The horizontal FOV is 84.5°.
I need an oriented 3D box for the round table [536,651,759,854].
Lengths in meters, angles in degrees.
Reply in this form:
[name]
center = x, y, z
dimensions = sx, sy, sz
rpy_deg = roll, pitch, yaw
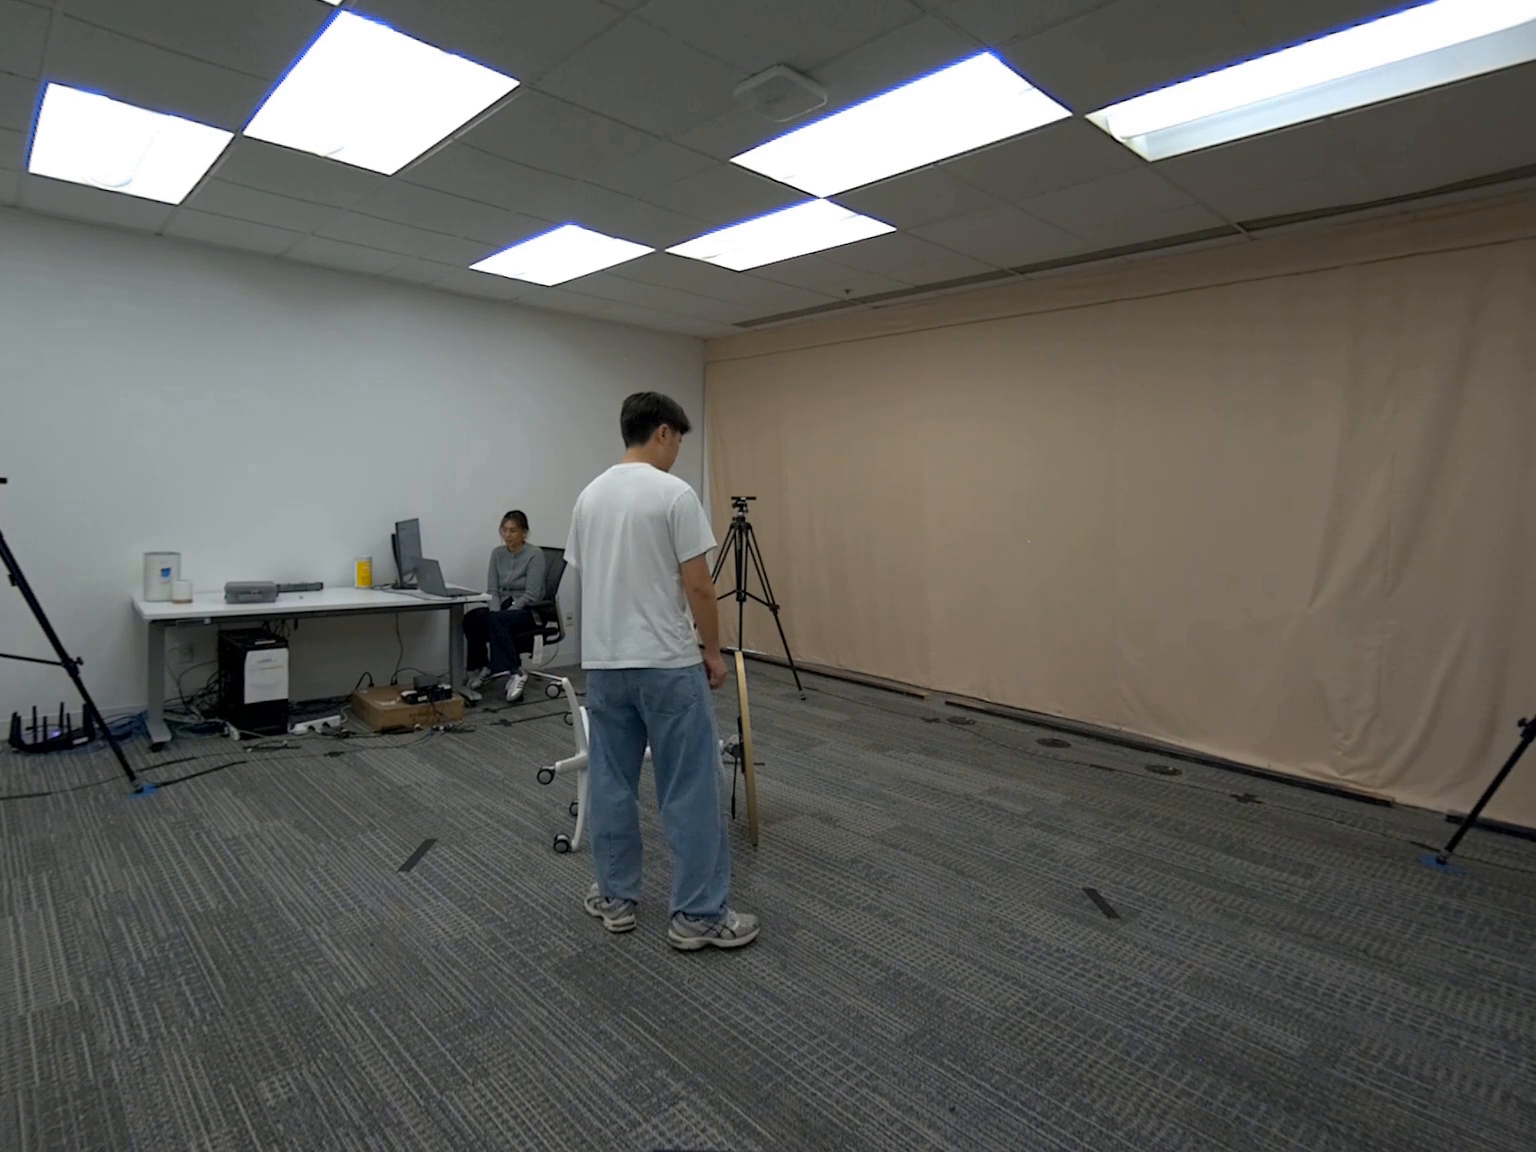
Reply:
[round table]
center = -0.477, 0.723, 3.434
dimensions = 0.784, 0.782, 0.790
rpy_deg = -4, 5, -4
